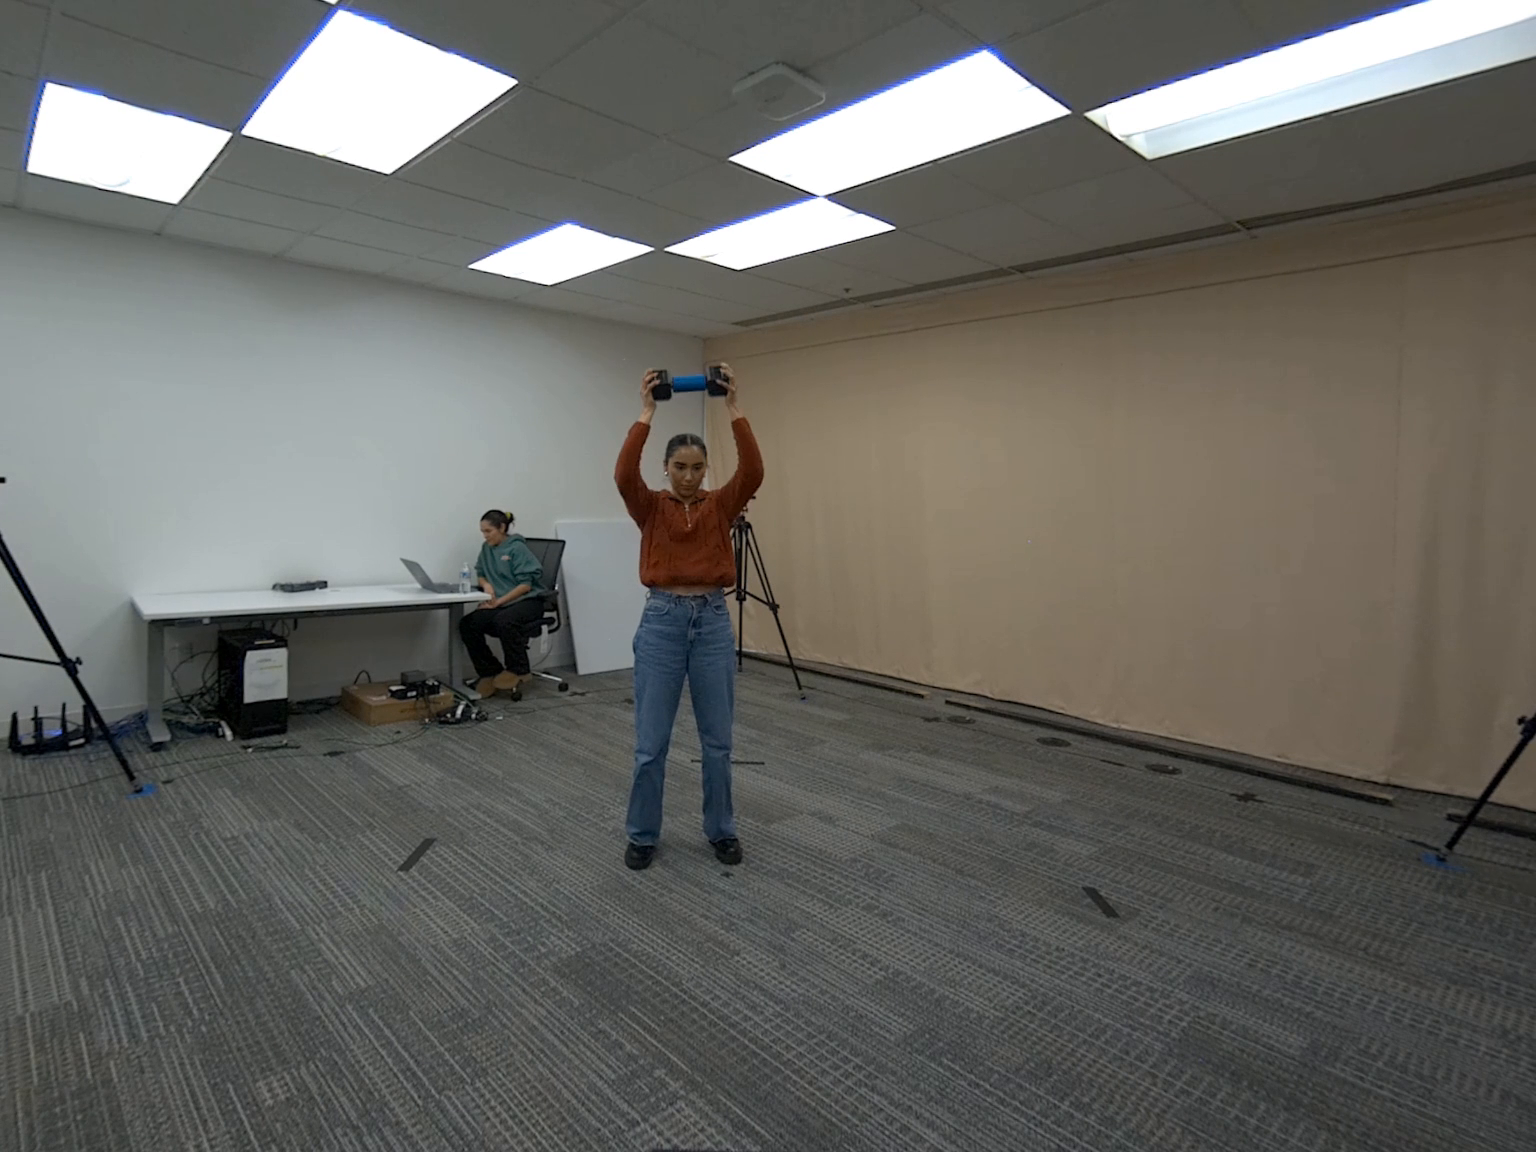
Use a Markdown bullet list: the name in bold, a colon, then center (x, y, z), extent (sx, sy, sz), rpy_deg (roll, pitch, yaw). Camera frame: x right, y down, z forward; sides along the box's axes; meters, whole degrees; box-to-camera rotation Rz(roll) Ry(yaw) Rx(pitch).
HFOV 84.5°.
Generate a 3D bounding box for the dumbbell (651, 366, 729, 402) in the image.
- **dumbbell**: center (-0.301, -0.694, 3.072), extent (0.292, 0.125, 0.107), rpy_deg (-4, -25, -4)
